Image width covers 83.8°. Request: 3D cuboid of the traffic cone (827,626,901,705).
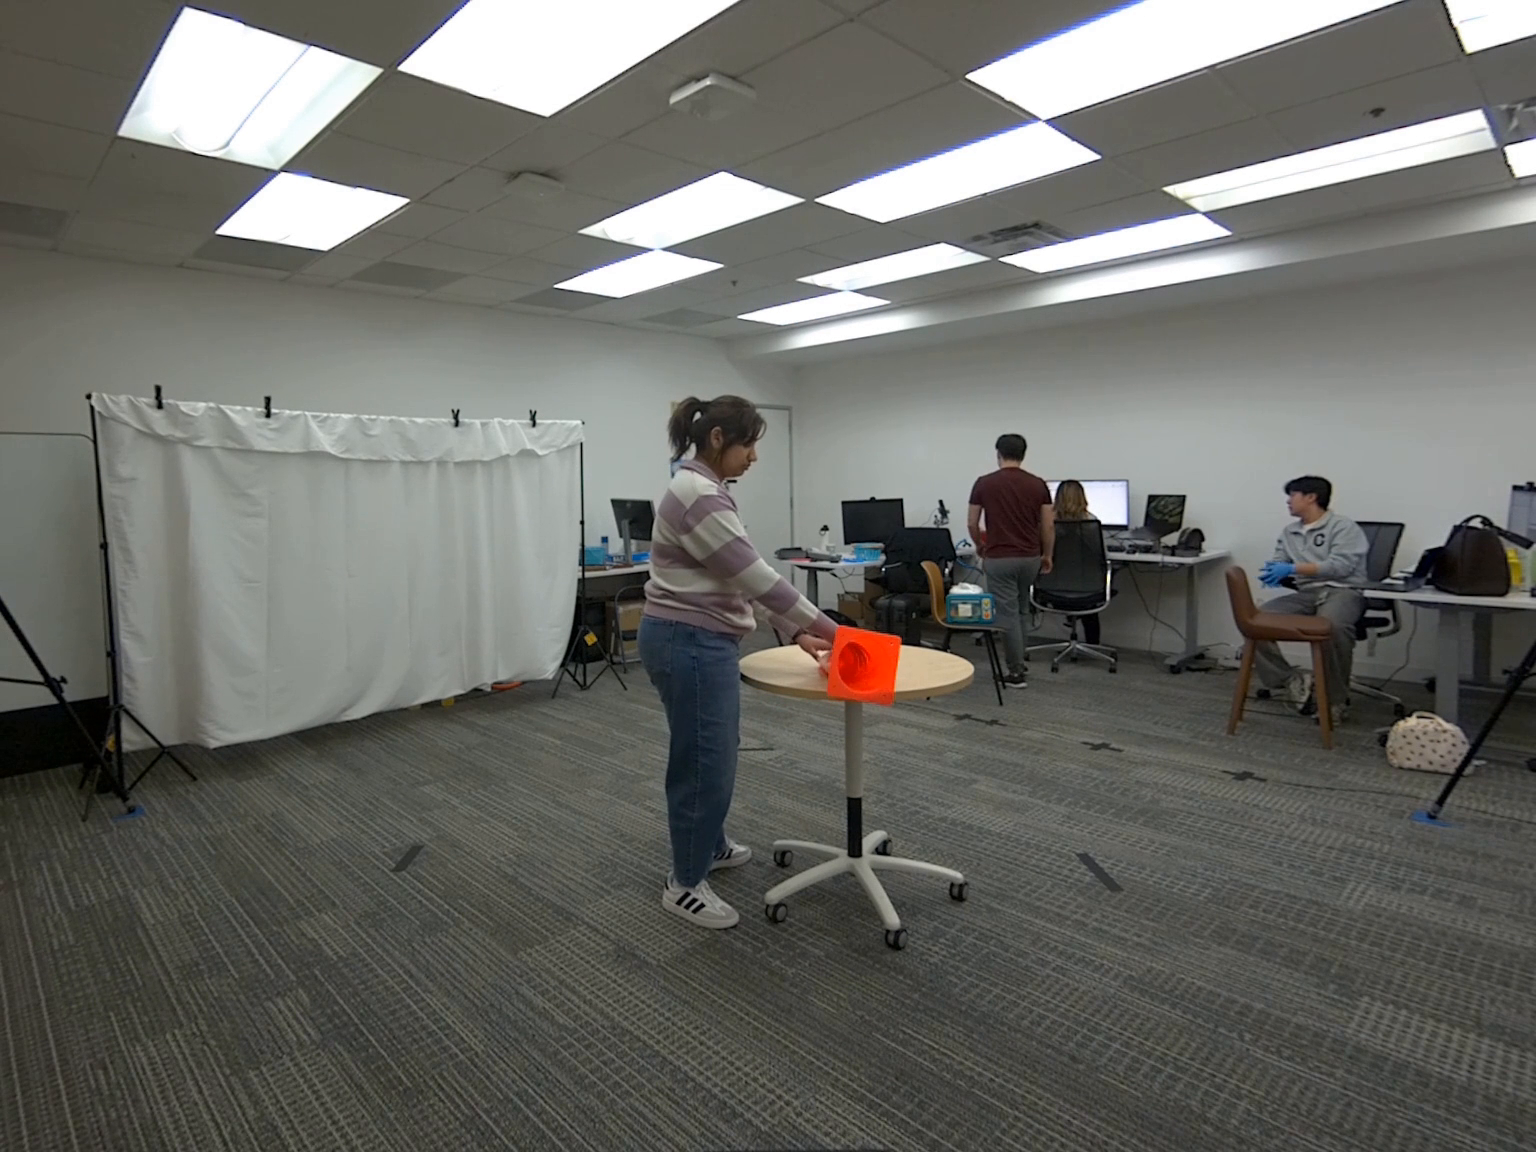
[{"bbox_3d":[0.217,0.265,2.600,0.200,0.206,0.387,12,-6,-13],"label":"traffic cone"}]
